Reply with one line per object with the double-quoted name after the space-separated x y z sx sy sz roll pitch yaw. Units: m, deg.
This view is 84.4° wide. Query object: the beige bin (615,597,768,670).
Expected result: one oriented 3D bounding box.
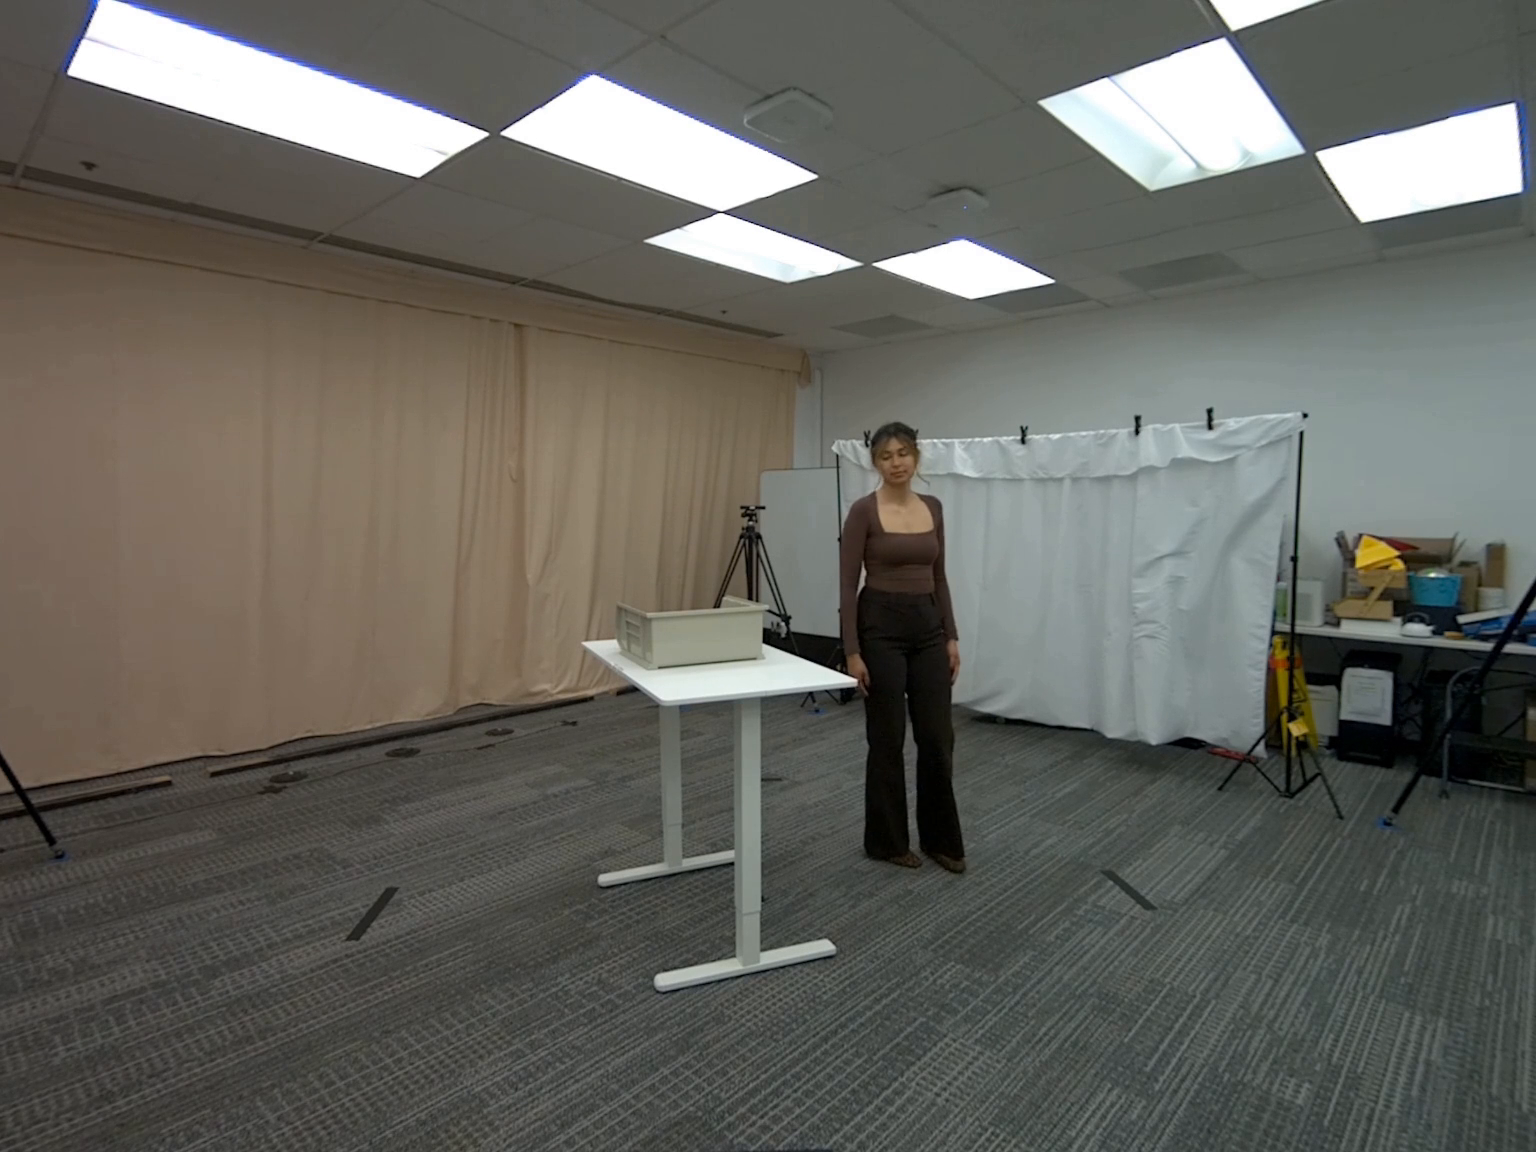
-0.271 0.184 2.862 0.412 0.188 0.387 -2 6 -25 "beige bin"
